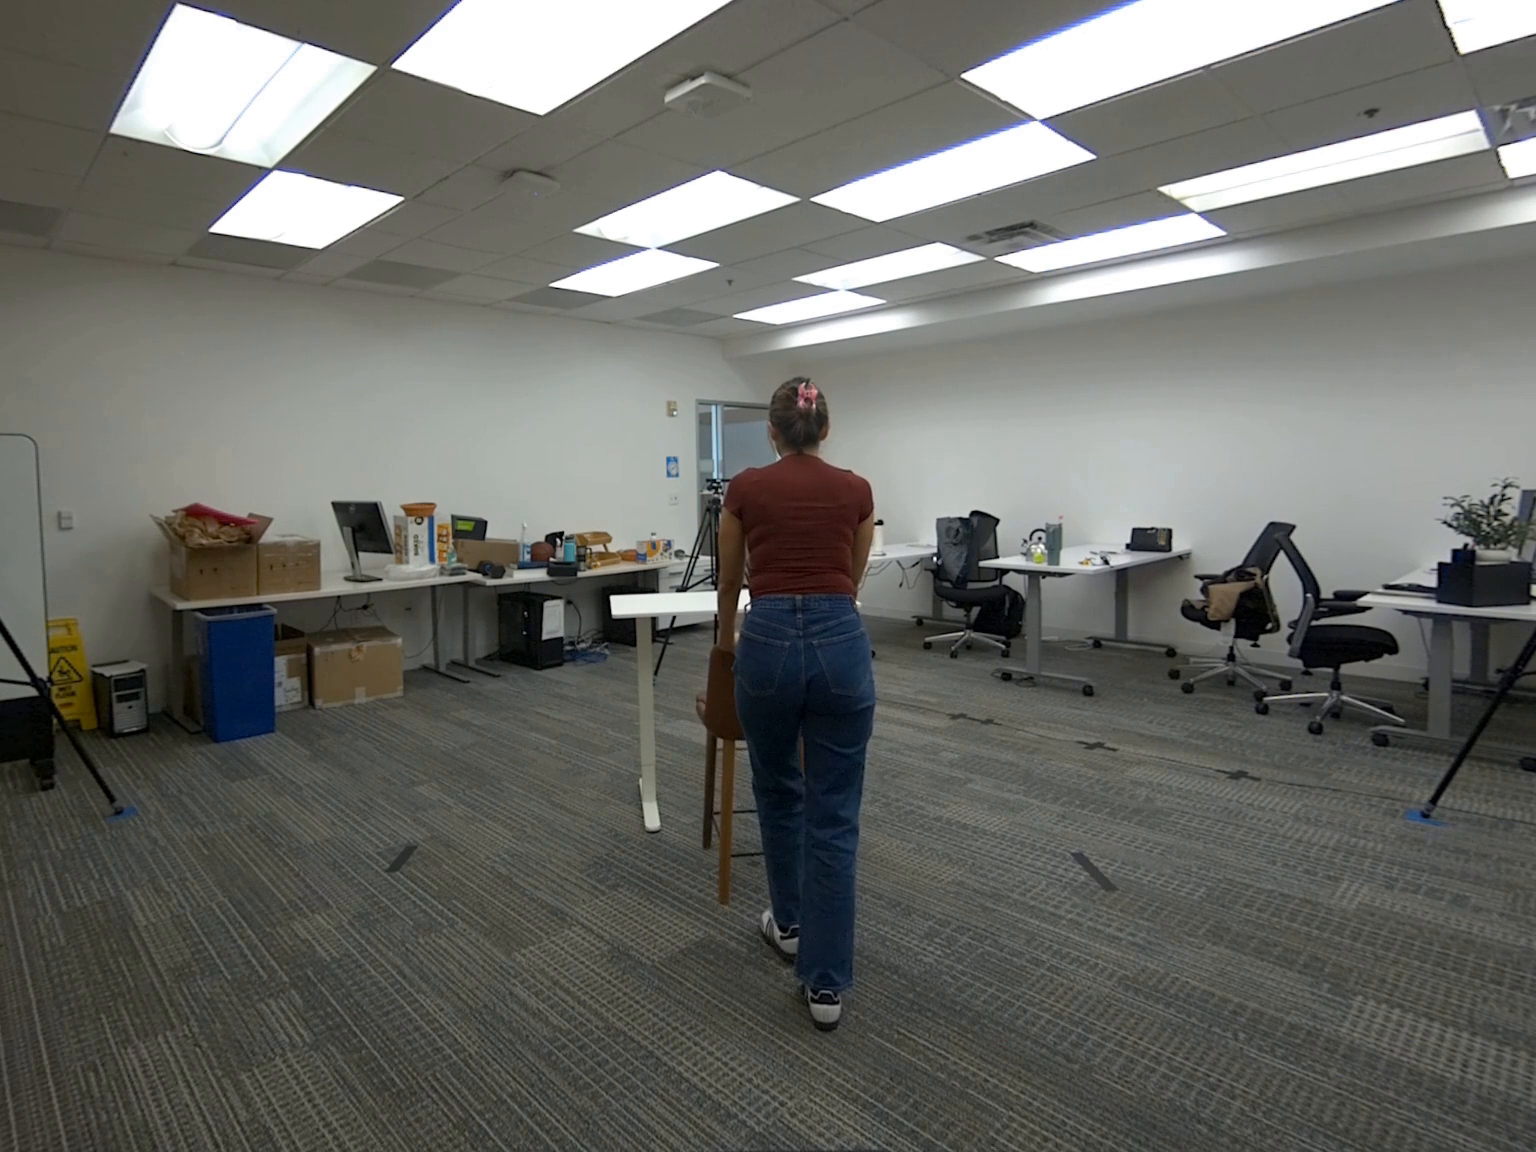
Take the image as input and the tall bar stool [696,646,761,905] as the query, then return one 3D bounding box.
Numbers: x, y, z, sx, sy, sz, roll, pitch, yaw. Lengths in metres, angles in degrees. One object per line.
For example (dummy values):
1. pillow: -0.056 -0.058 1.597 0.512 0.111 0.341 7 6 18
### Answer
1. tall bar stool: -0.017 0.615 3.018 0.453 0.885 0.473 -1 6 -8
